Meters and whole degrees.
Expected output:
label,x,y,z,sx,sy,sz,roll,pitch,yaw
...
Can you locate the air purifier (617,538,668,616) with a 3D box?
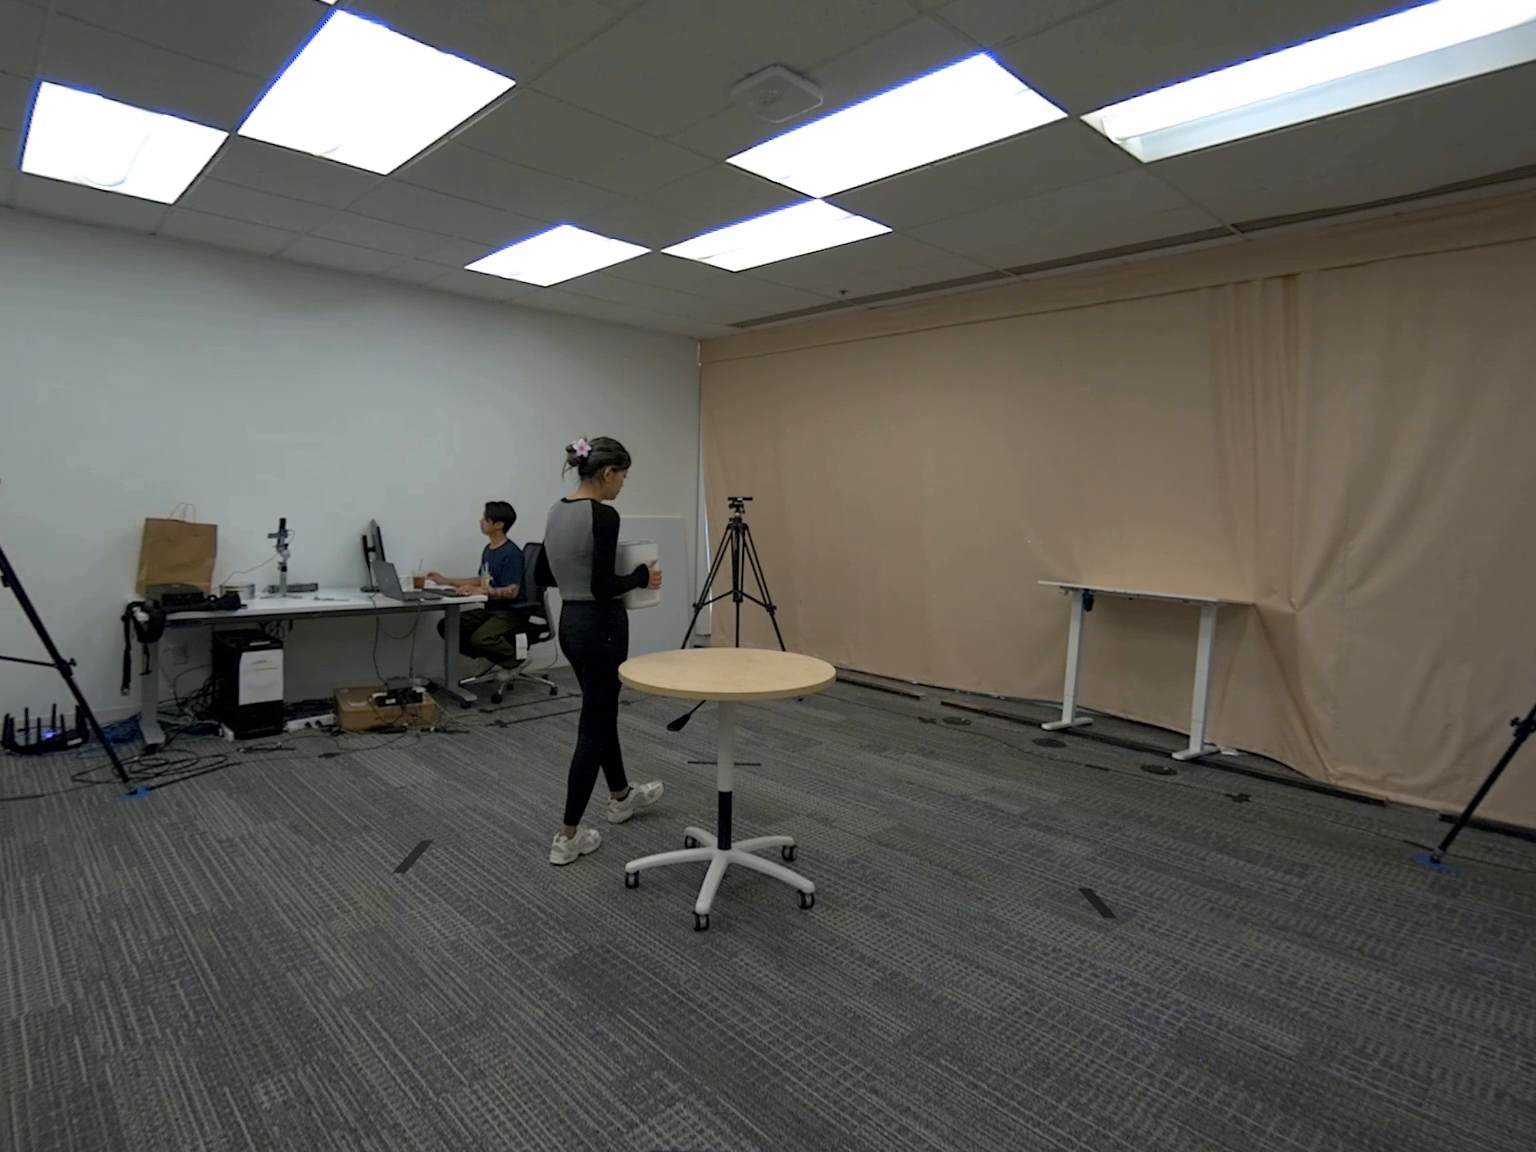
label,x,y,z,sx,sy,sz,roll,pitch,yaw
air purifier,-0.533,-0.004,3.400,0.168,0.263,0.175,-10,12,-38
